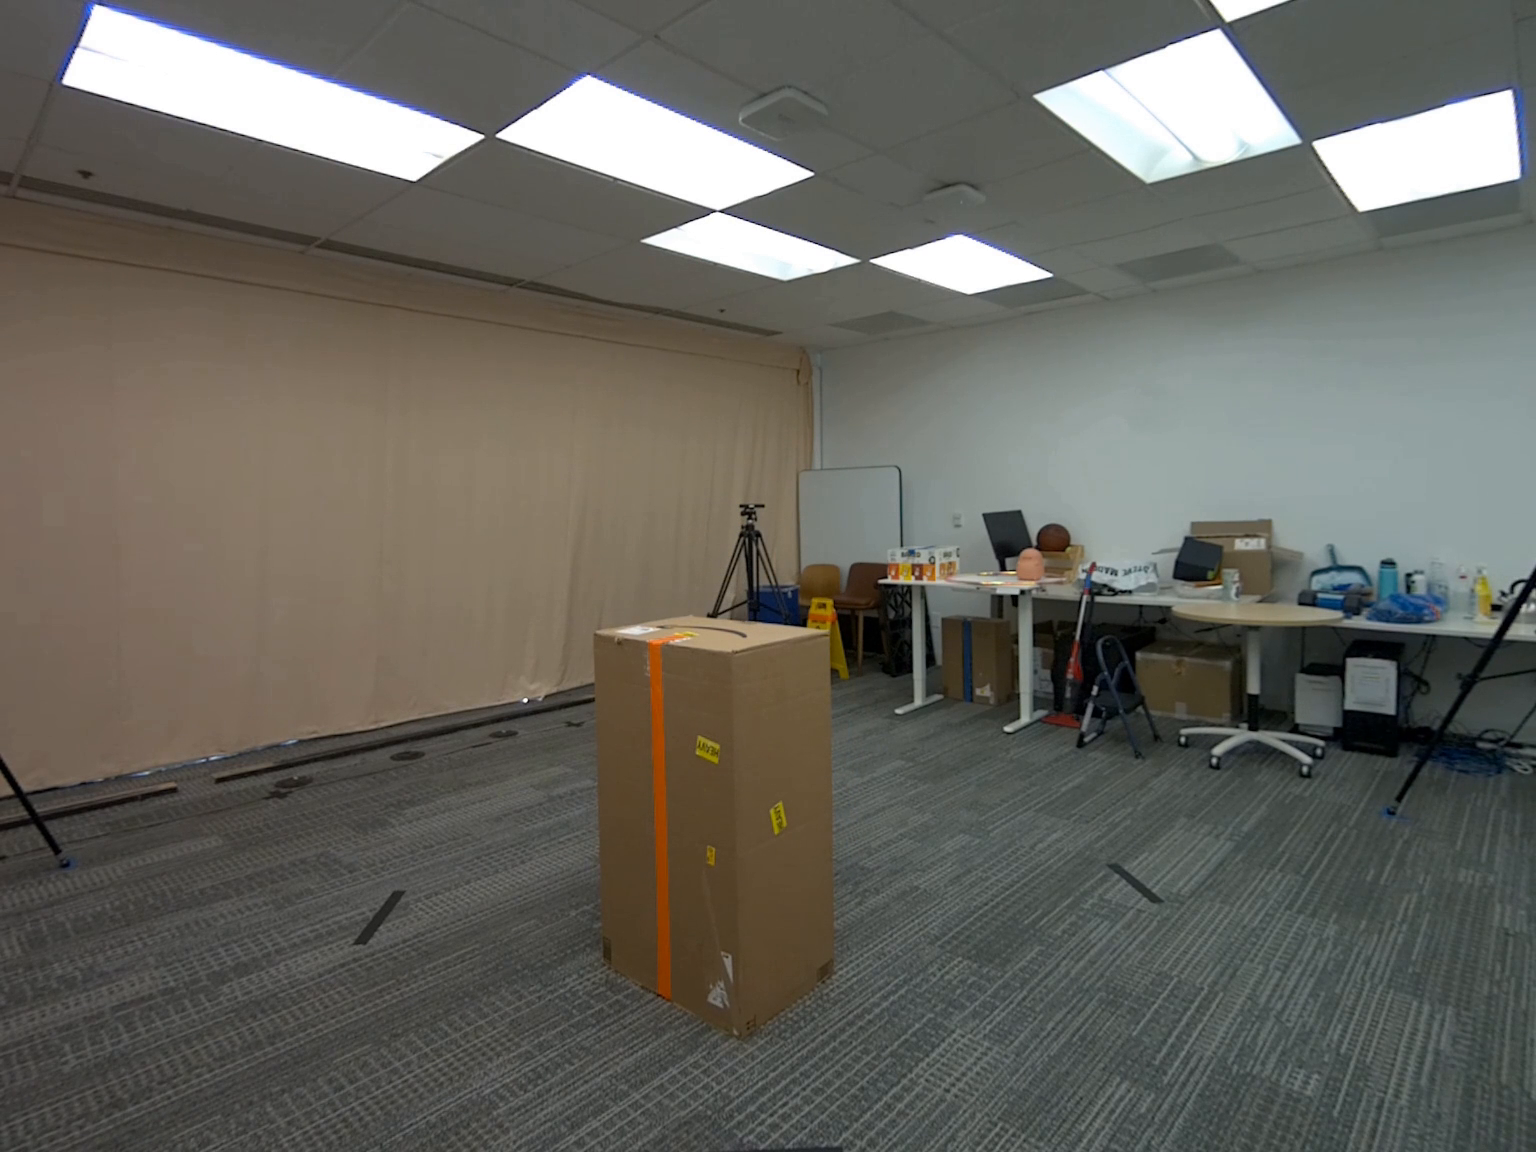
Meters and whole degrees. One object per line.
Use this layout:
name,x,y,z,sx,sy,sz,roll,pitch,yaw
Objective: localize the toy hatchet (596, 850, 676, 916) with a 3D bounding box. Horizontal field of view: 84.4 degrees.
toy hatchet,-0.475,1.098,3.049,0.135,0.029,0.263,31,28,27
